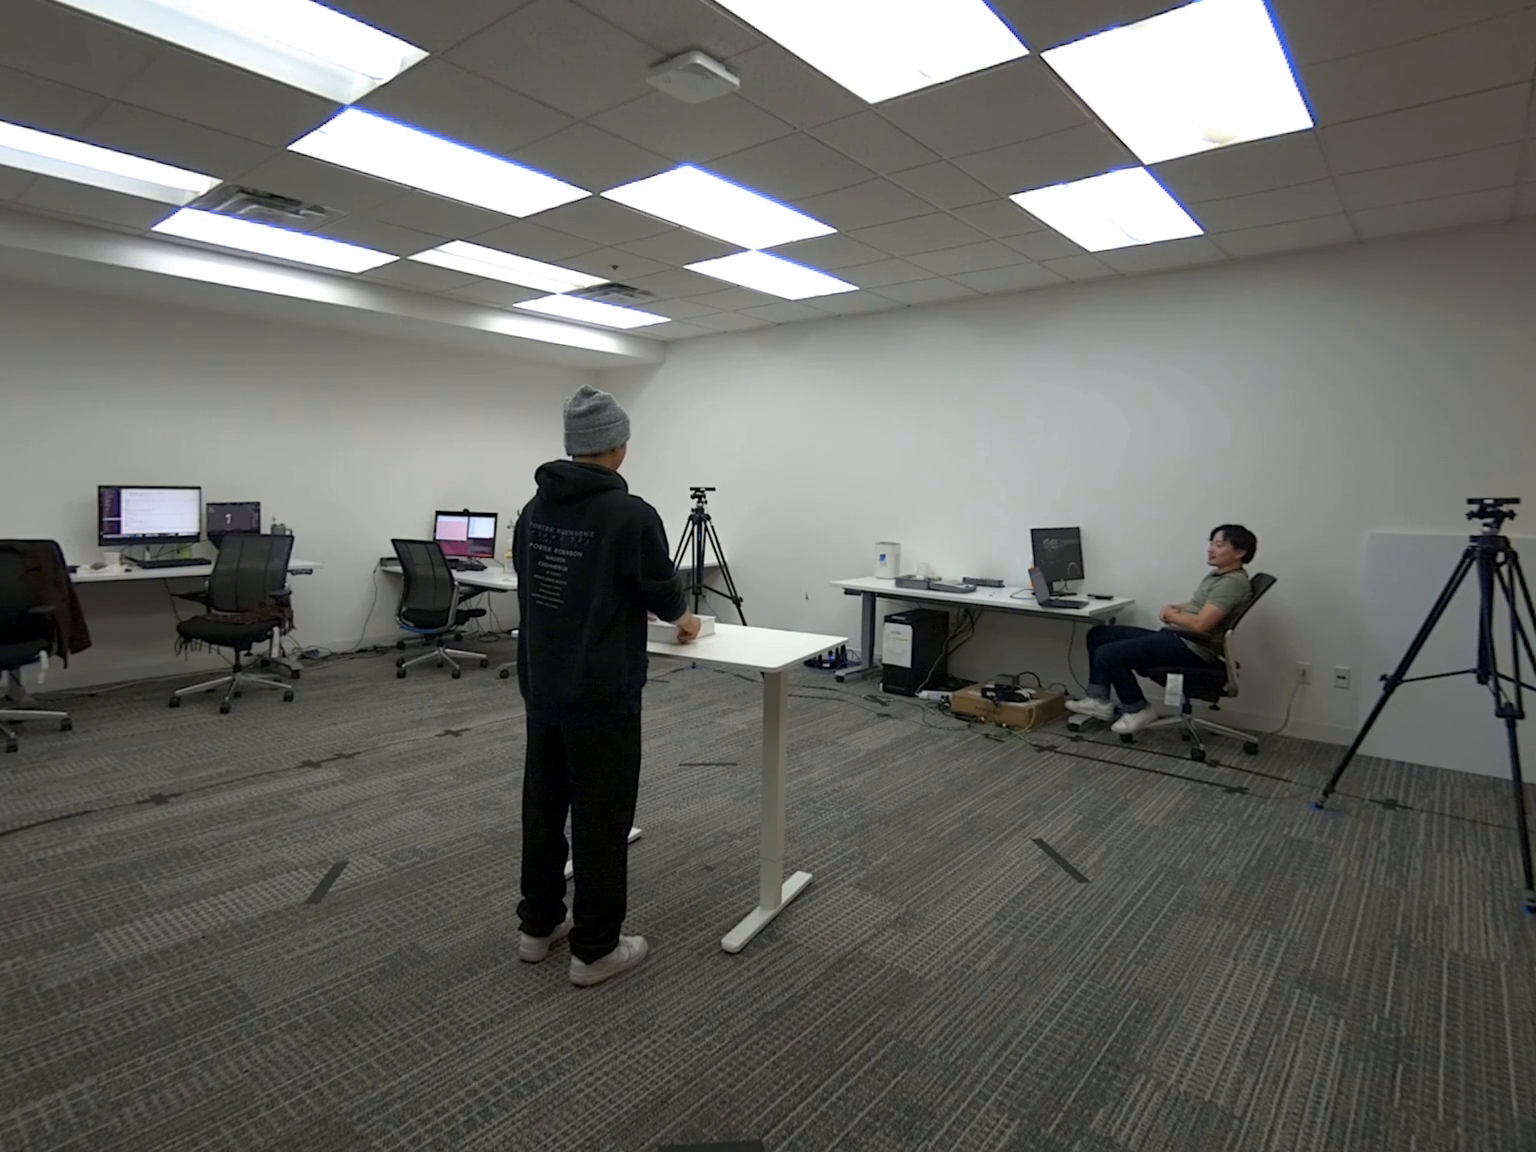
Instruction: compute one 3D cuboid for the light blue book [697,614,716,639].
[{"bbox_3d":[-0.322,0.180,2.892,0.197,0.059,0.255,4,7,29],"label":"light blue book"}]
